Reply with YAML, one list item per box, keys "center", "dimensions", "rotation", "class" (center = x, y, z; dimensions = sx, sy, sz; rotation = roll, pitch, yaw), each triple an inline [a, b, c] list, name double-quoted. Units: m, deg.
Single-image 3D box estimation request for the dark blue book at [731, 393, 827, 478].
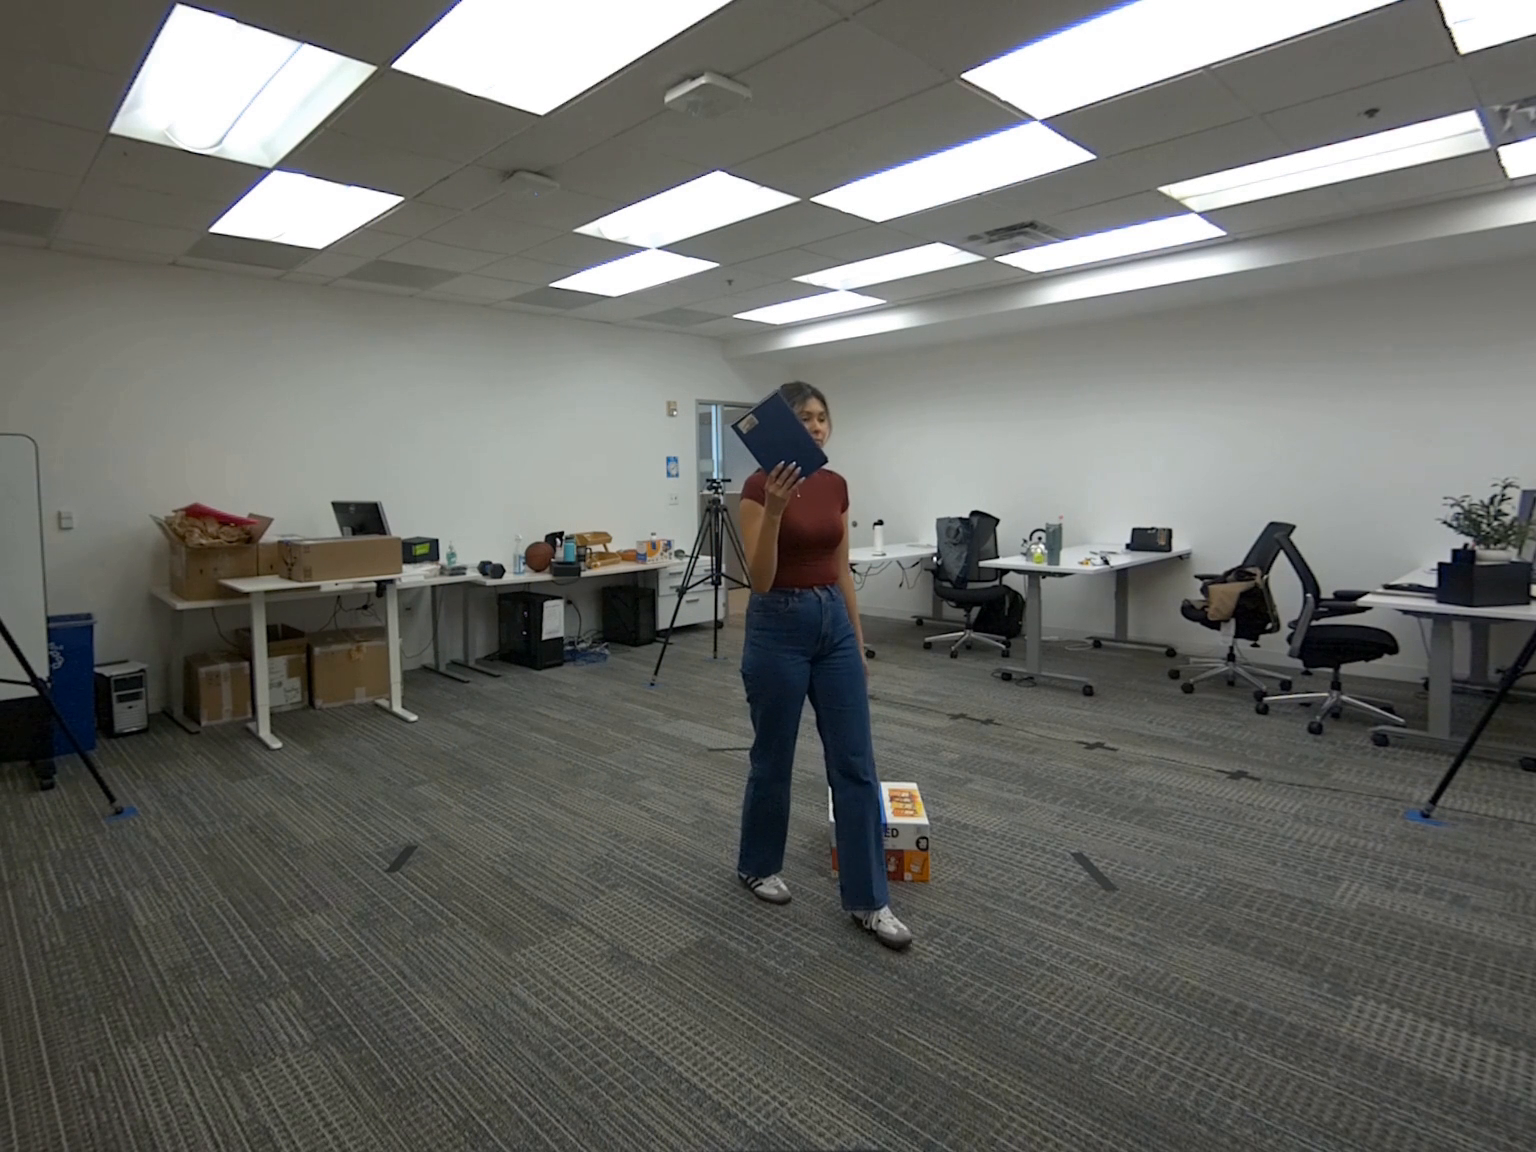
- center: [0.036, -0.375, 2.373]
  dimensions: [0.164, 0.241, 0.046]
  rotation: [-34, 13, 18]
  class: "dark blue book"
